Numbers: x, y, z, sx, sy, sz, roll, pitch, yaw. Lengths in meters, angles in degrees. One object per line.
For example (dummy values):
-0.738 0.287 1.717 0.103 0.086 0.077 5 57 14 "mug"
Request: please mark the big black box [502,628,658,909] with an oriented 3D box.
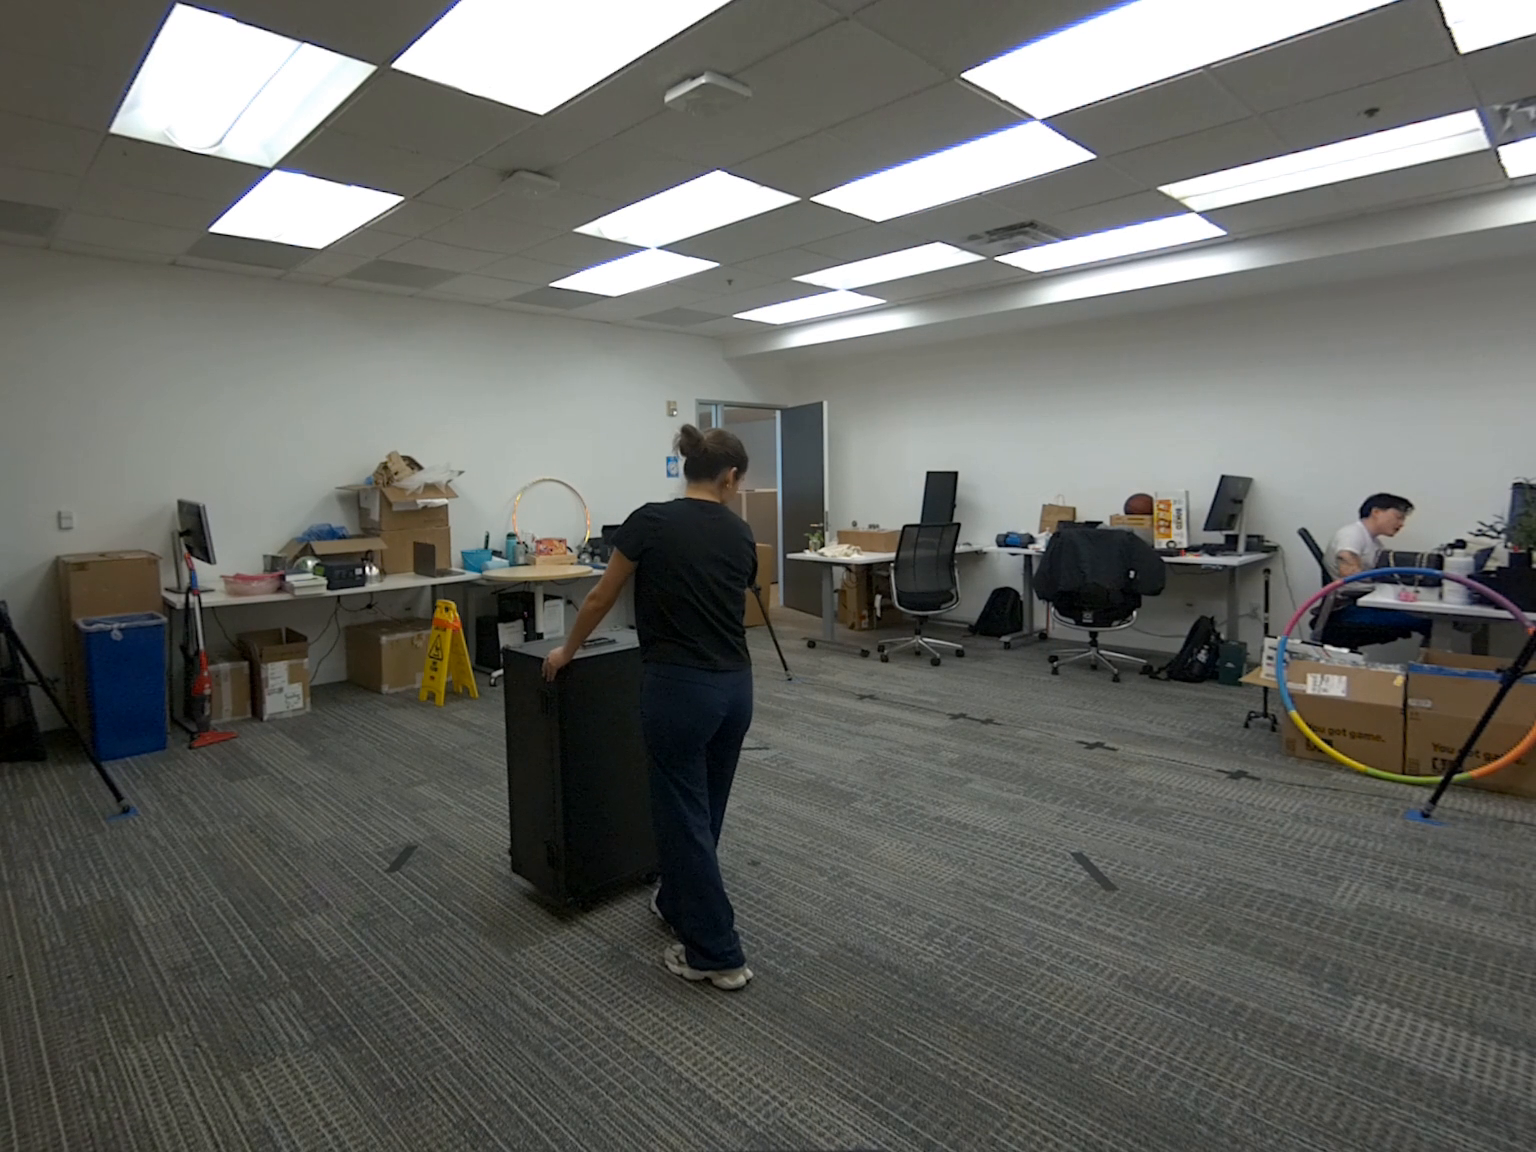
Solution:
-0.612 0.650 2.949 0.507 0.859 0.408 -5 5 -43 "big black box"
